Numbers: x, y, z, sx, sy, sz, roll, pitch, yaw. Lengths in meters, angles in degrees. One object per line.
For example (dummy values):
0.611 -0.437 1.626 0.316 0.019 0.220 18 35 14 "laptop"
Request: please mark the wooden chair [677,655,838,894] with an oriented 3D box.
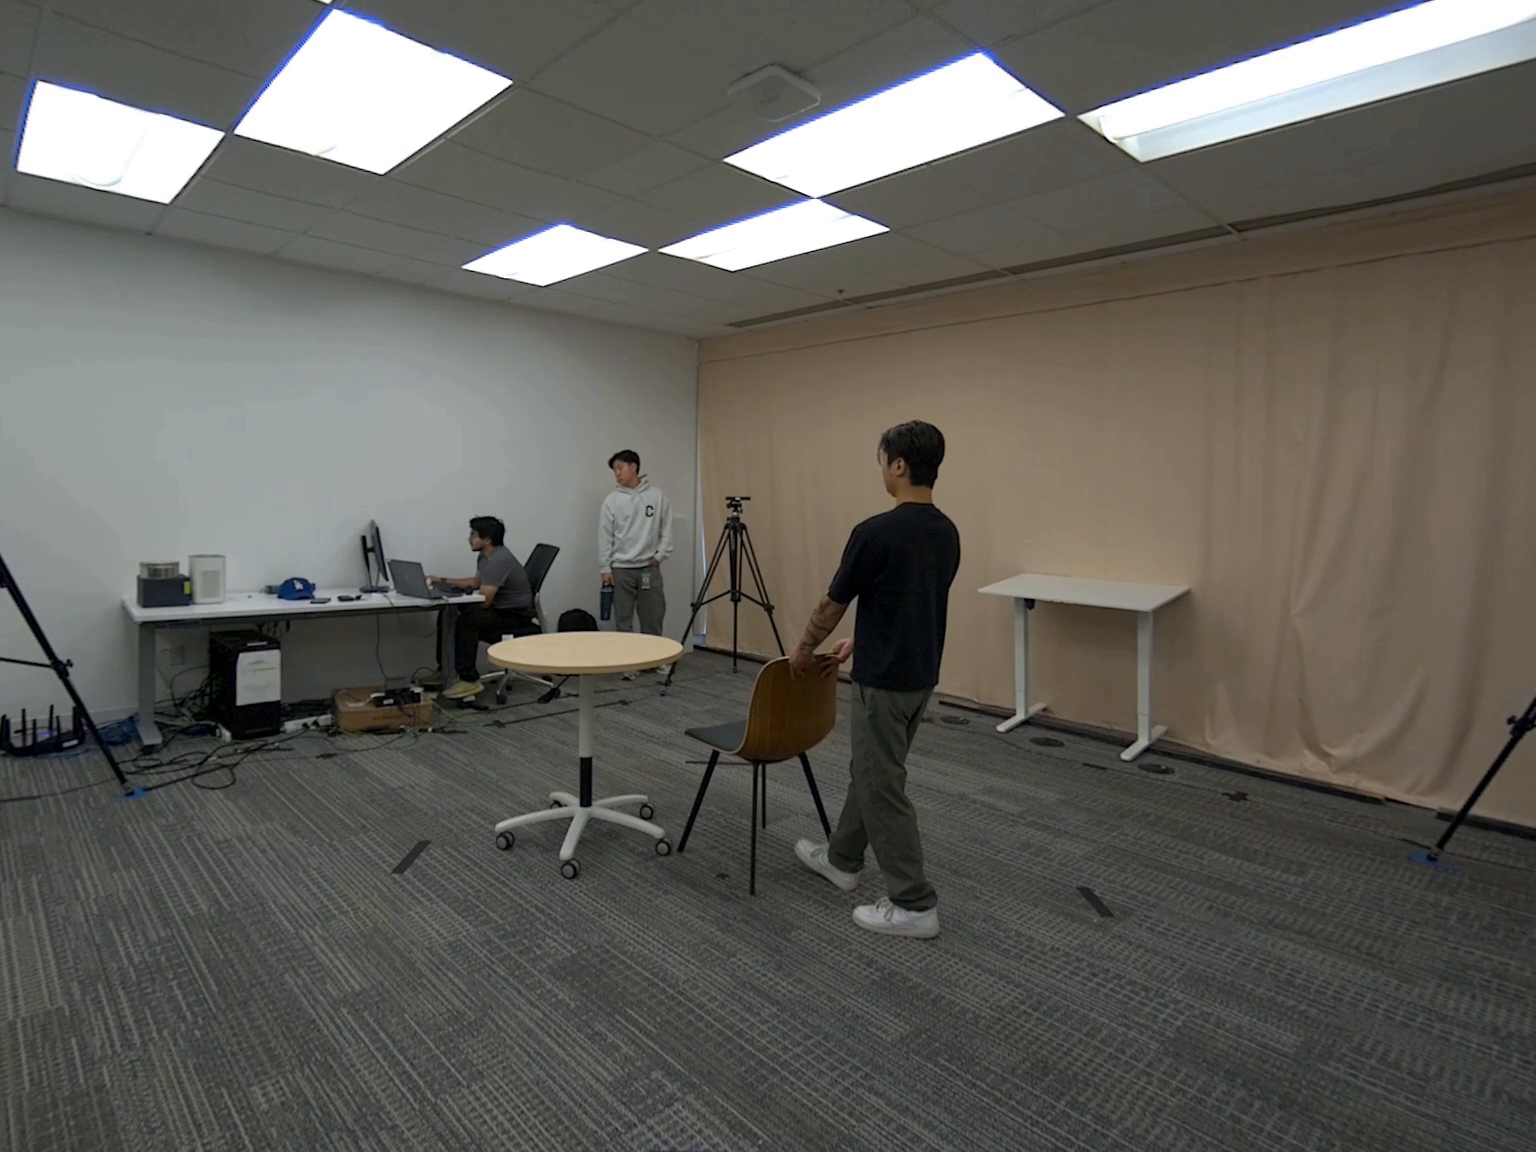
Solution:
-0.039 0.666 3.240 0.467 0.873 0.538 -2 9 -40 "wooden chair"
